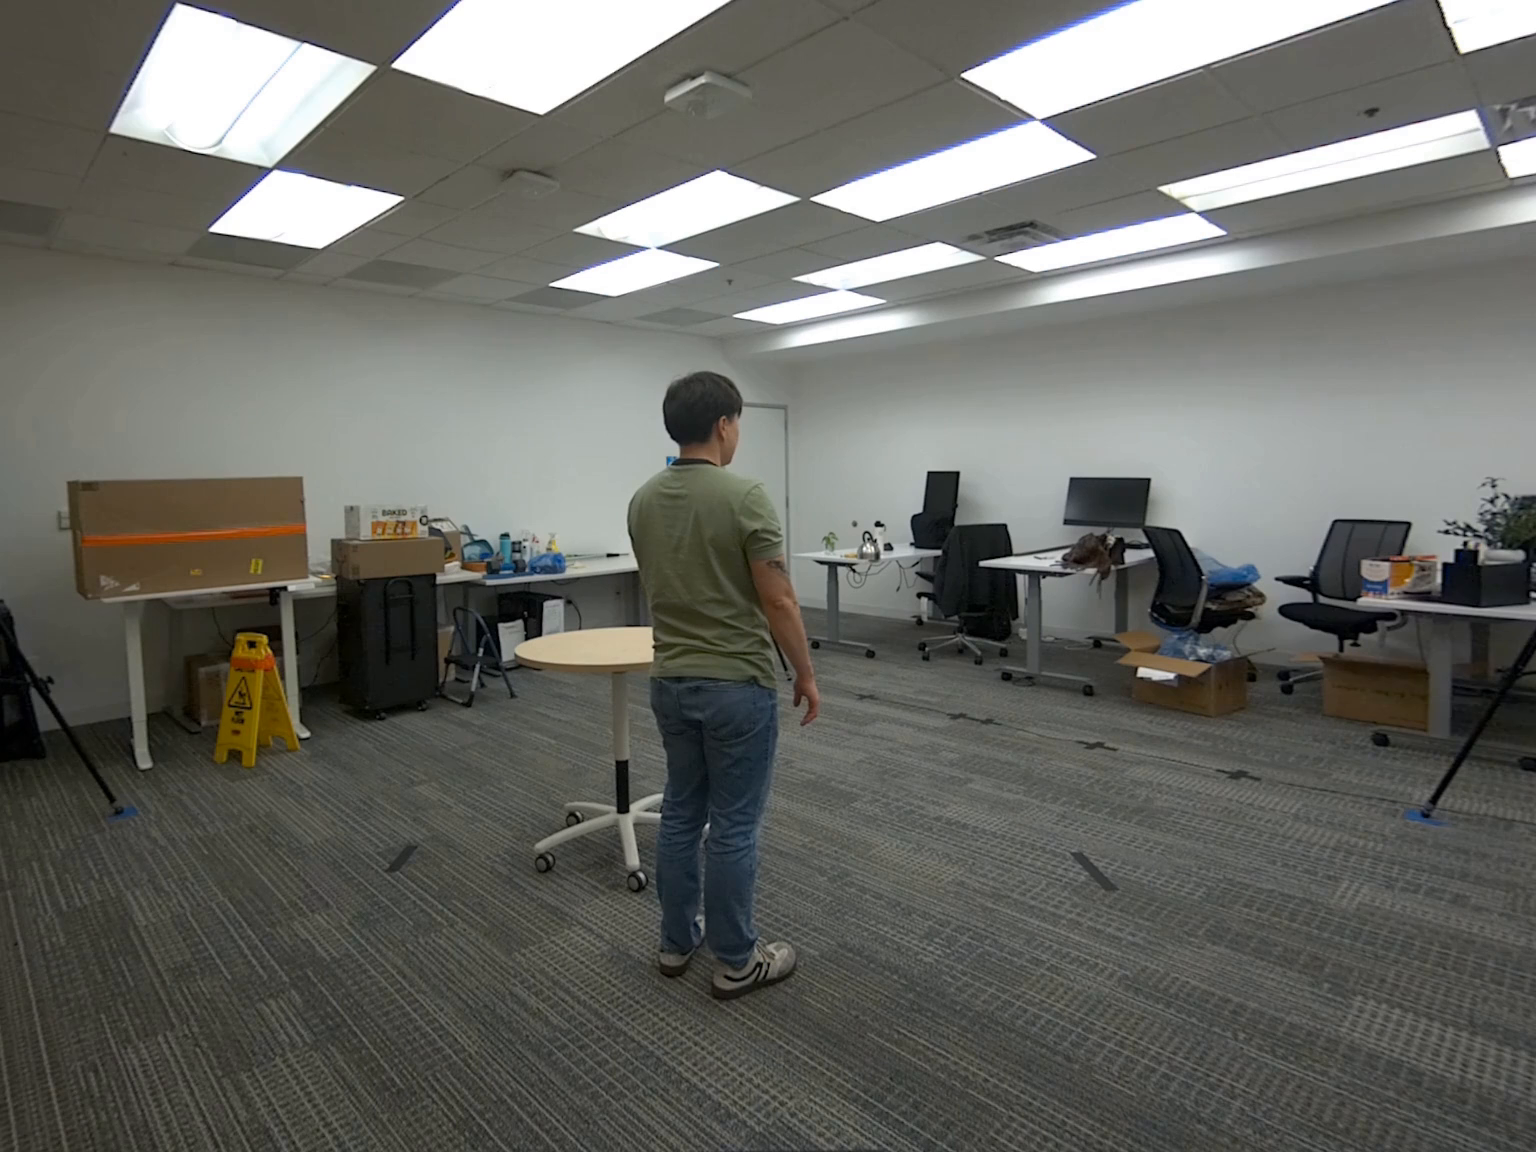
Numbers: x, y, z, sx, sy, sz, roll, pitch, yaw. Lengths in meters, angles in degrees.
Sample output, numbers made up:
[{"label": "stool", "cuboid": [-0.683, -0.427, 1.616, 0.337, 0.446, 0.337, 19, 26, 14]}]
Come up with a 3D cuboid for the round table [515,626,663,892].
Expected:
[{"label": "round table", "cuboid": [-0.552, 0.649, 3.239, 0.763, 0.791, 0.767, -2, 4, -2]}]
